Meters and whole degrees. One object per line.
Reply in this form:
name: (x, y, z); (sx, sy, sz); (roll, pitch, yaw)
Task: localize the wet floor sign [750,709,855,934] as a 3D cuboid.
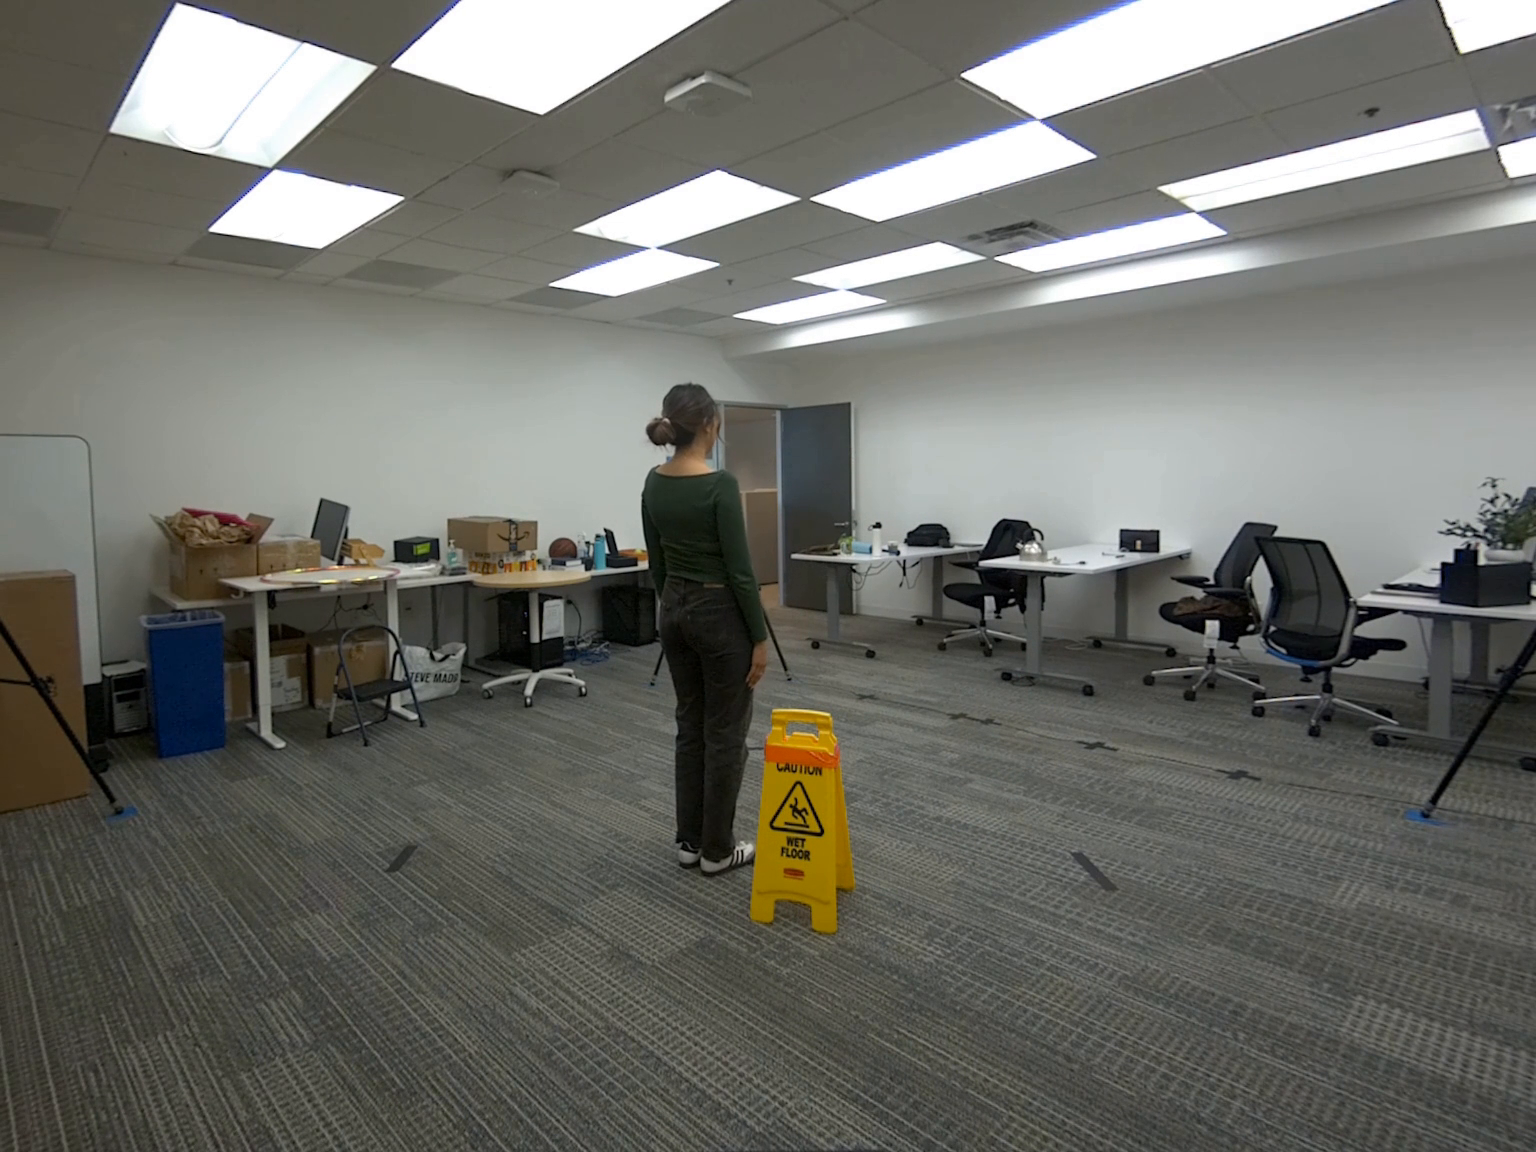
wet floor sign: (0.119, 0.756, 2.781); (0.287, 0.644, 0.285); (1, 4, 19)
